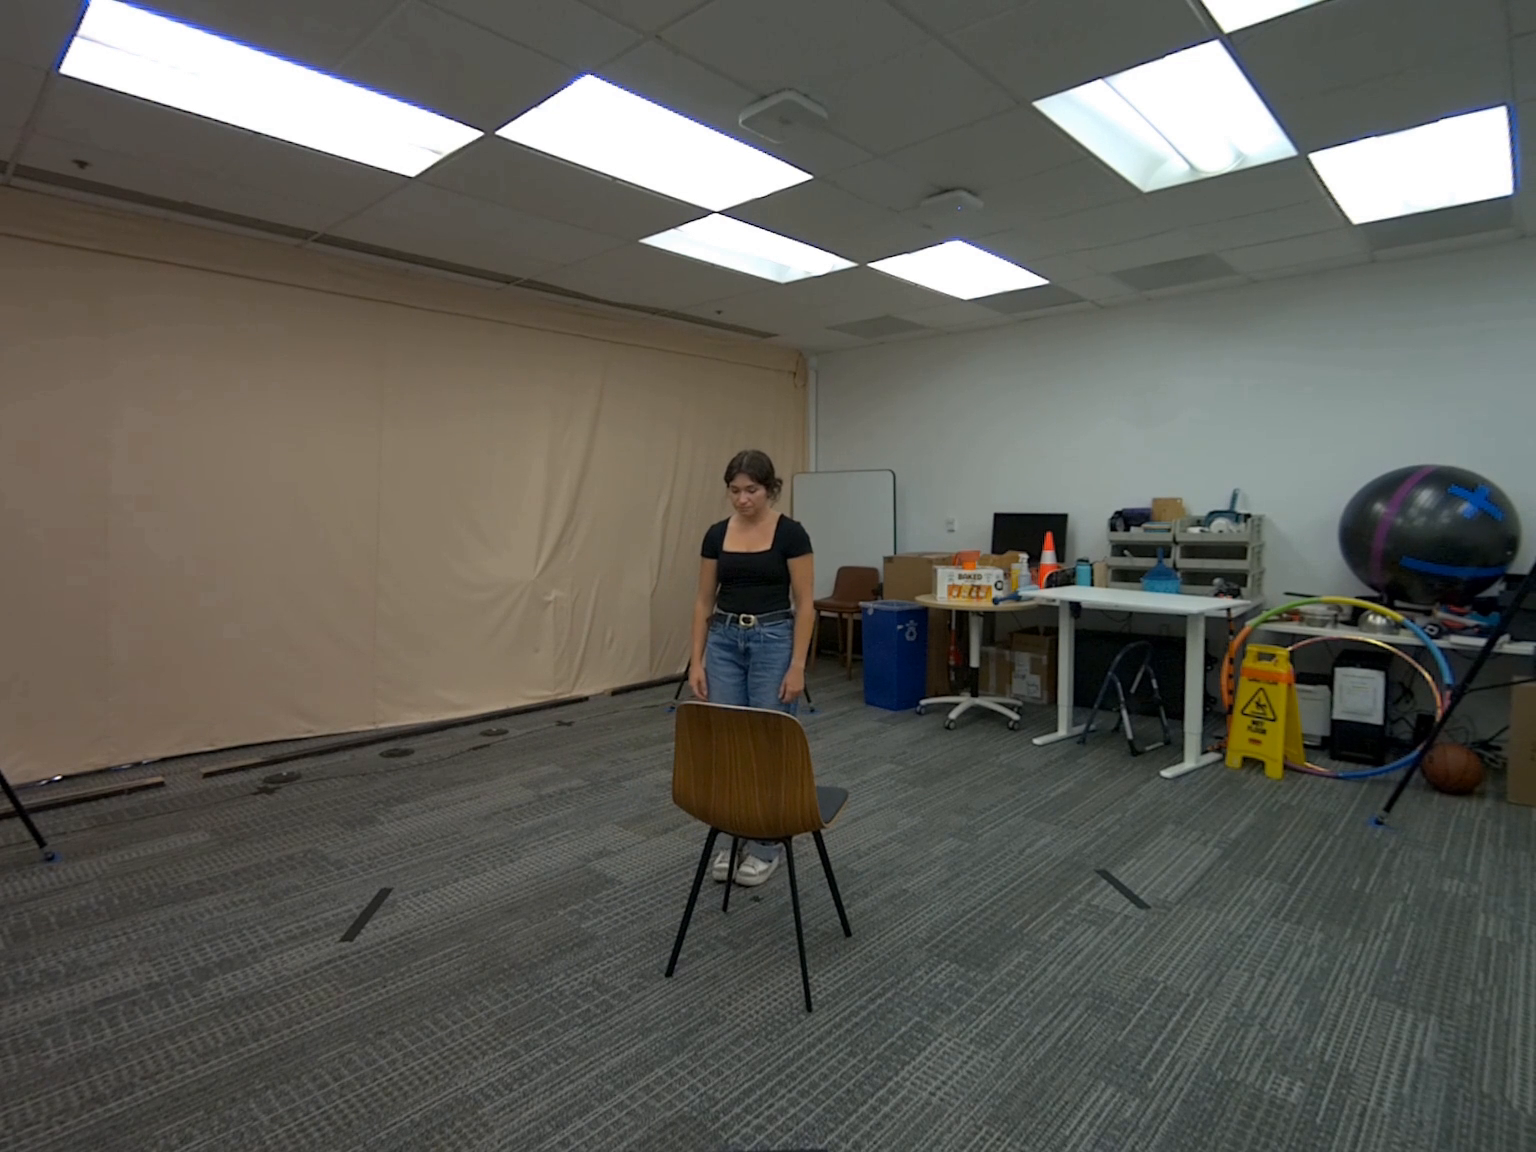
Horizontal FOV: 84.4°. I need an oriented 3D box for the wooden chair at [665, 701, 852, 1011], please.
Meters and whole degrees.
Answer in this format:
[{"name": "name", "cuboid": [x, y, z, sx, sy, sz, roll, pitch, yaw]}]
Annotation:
[{"name": "wooden chair", "cuboid": [-0.012, 0.746, 2.590, 0.489, 0.873, 0.513, 1, 8, 22]}]
